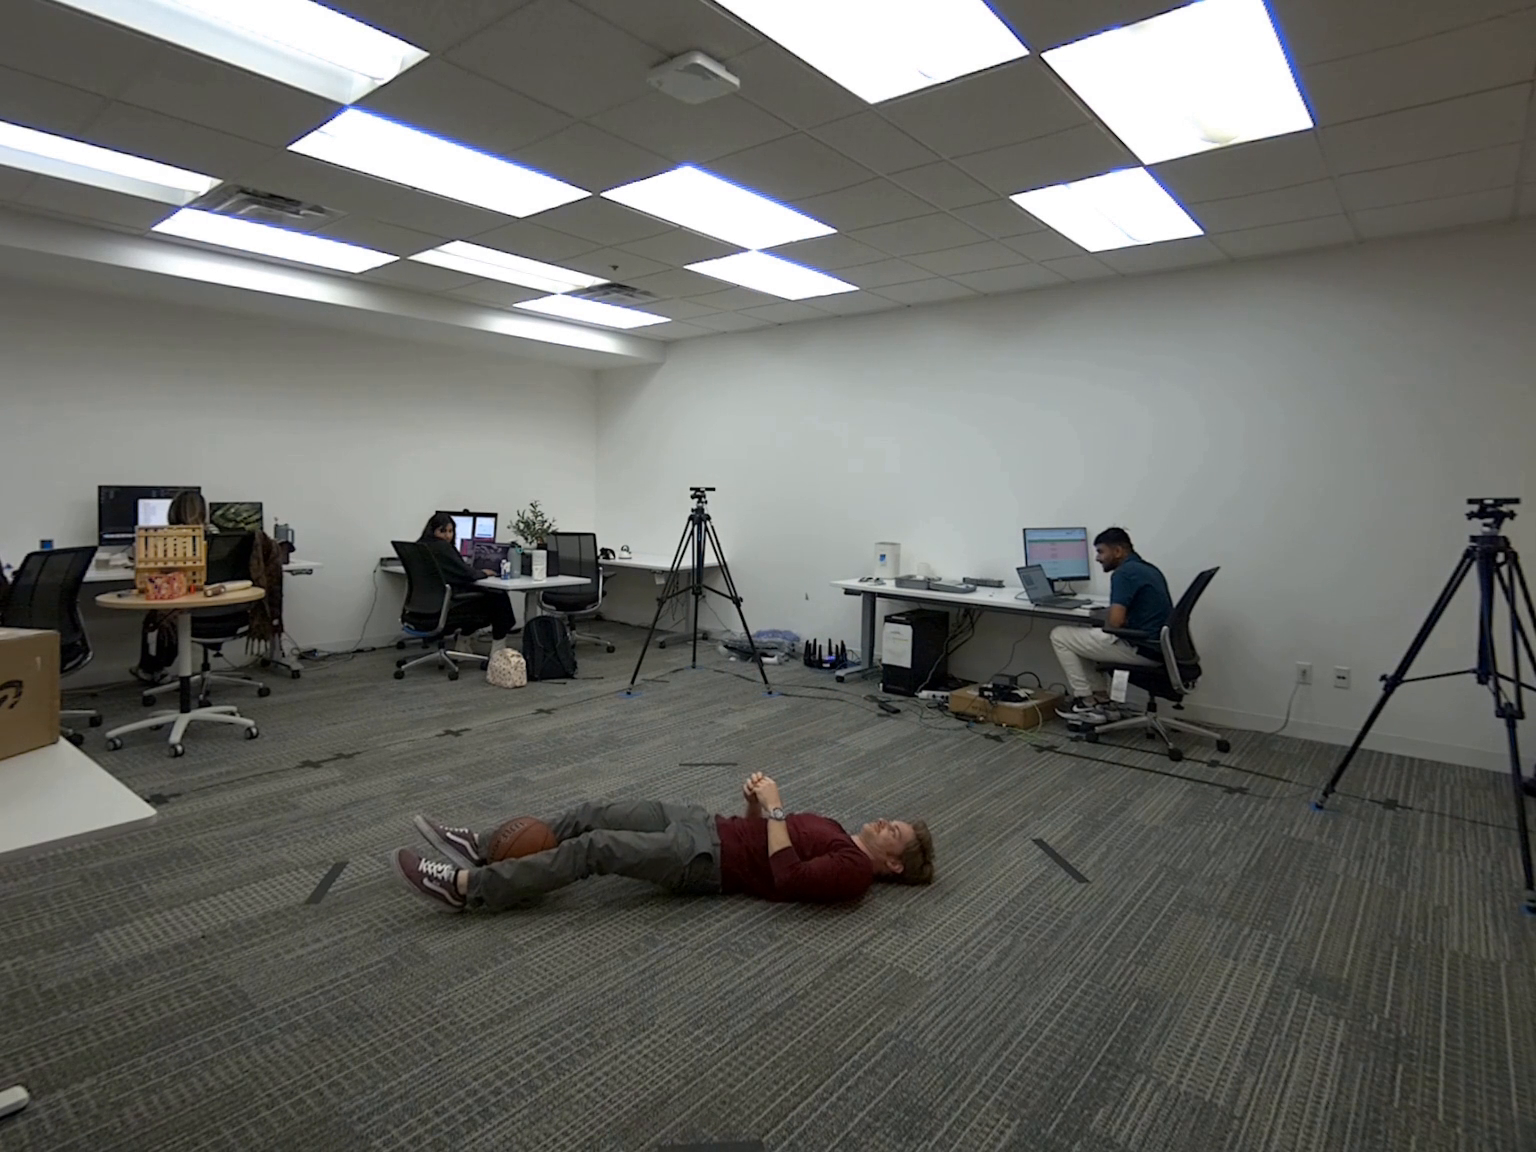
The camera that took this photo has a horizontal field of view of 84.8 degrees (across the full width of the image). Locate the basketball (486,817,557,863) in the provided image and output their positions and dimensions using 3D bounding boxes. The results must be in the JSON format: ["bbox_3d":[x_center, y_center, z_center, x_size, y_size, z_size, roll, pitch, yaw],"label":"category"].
[{"bbox_3d":[-0.854,0.948,2.915,0.235,0.235,0.237,1,4,-2],"label":"basketball"}]
